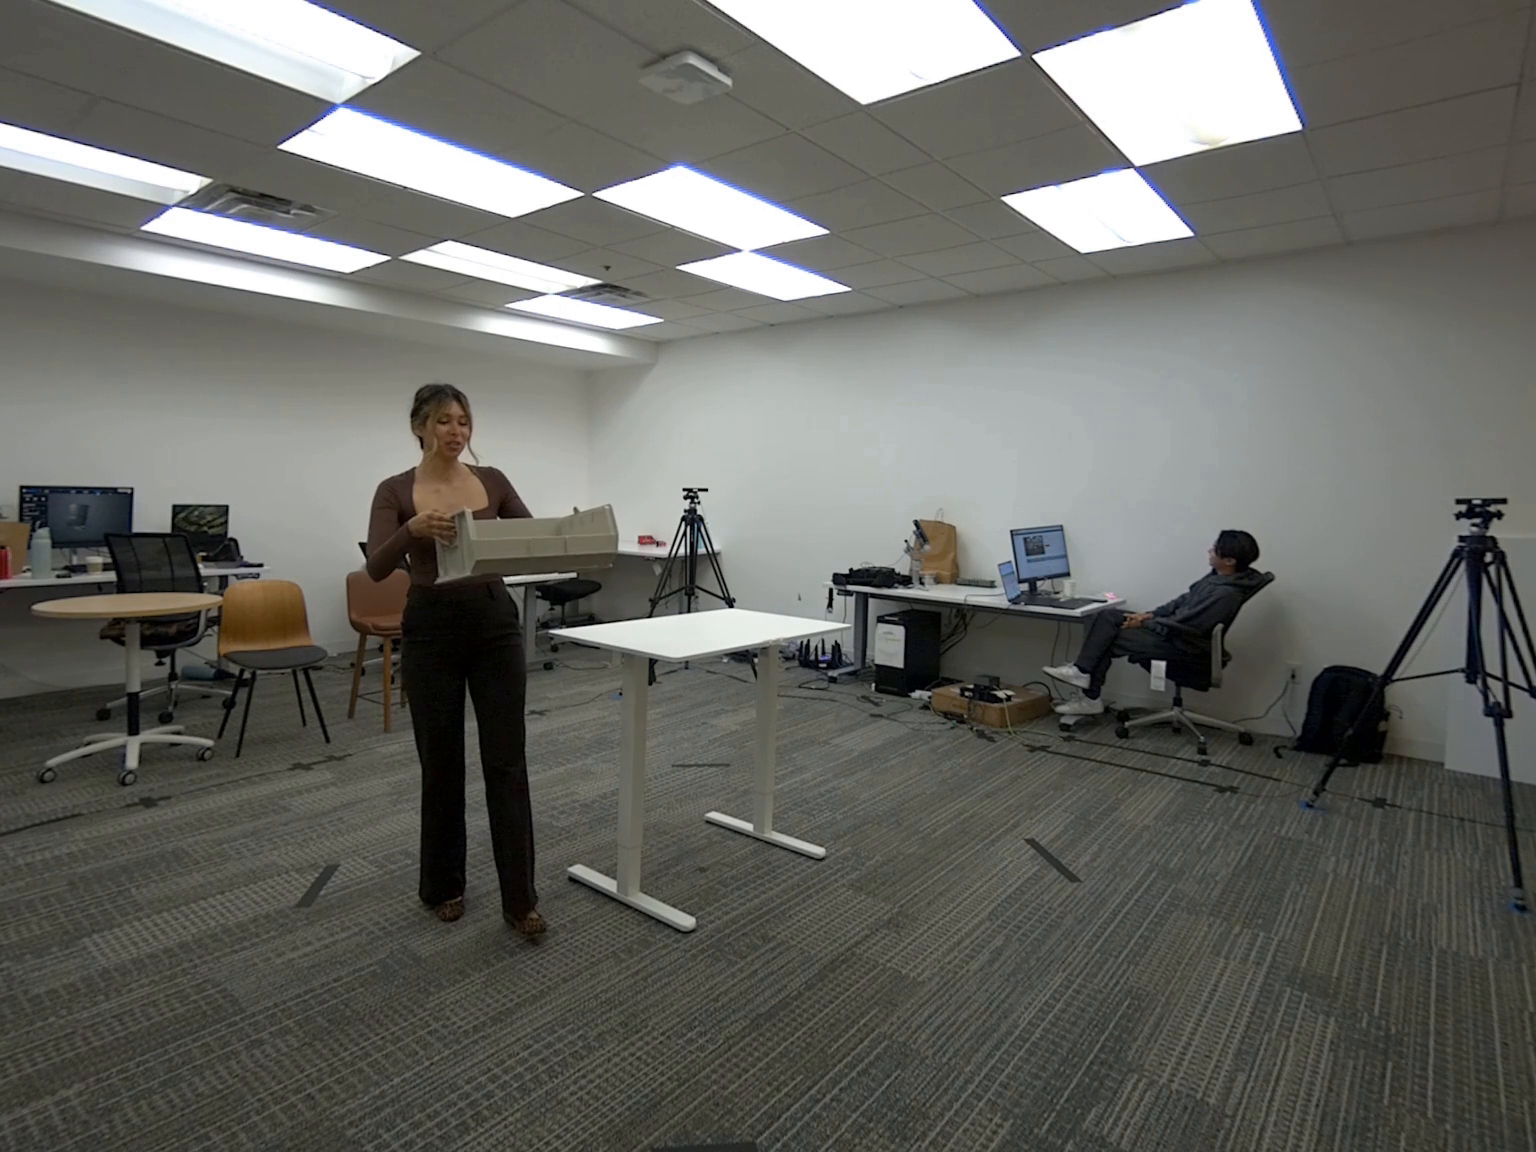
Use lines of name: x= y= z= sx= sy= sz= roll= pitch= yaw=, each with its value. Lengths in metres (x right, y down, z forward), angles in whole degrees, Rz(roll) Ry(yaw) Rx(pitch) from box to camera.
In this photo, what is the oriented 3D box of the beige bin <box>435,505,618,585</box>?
beige bin: x=-0.701 y=-0.087 z=2.396 sx=0.411 sy=0.190 sz=0.386 roll=-5 pitch=-2 yaw=-35
